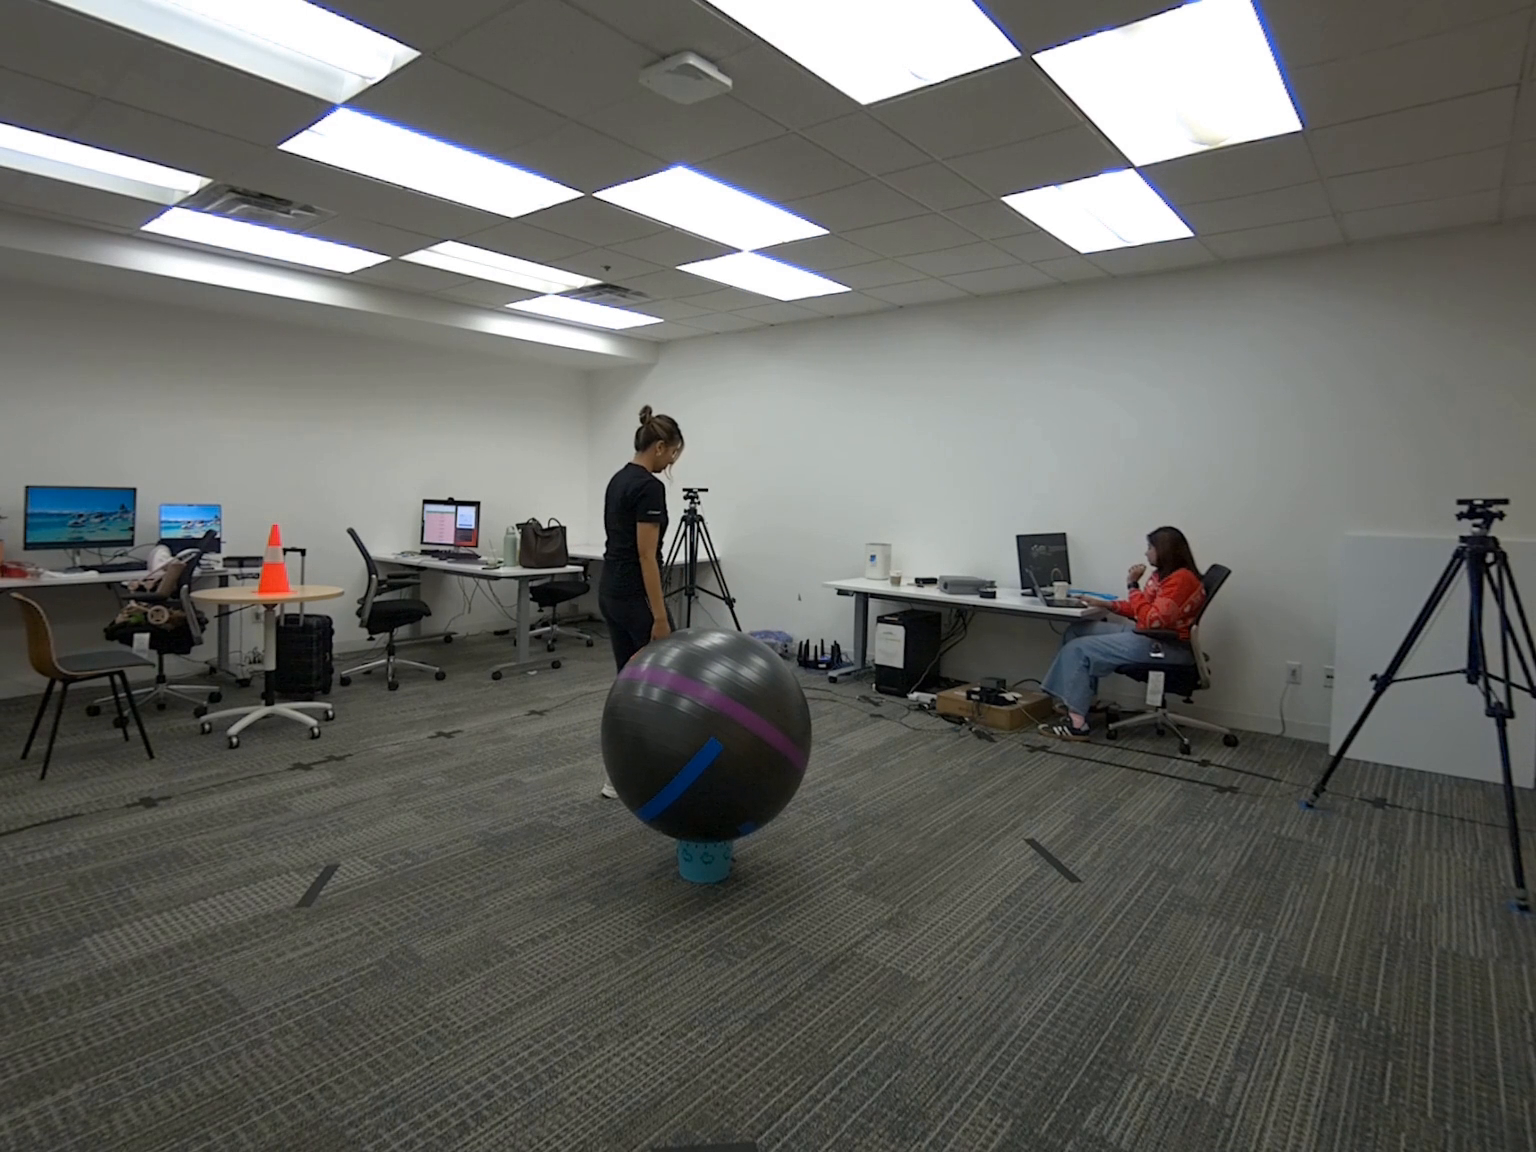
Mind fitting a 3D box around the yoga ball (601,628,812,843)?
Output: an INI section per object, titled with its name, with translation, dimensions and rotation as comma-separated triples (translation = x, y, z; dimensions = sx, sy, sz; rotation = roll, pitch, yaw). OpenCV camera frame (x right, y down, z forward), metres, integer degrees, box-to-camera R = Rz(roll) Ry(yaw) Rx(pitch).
[yoga ball]
translation = -0.229, 0.560, 3.069
dimensions = 0.757, 0.756, 0.761
rotation = 1, 4, -2
